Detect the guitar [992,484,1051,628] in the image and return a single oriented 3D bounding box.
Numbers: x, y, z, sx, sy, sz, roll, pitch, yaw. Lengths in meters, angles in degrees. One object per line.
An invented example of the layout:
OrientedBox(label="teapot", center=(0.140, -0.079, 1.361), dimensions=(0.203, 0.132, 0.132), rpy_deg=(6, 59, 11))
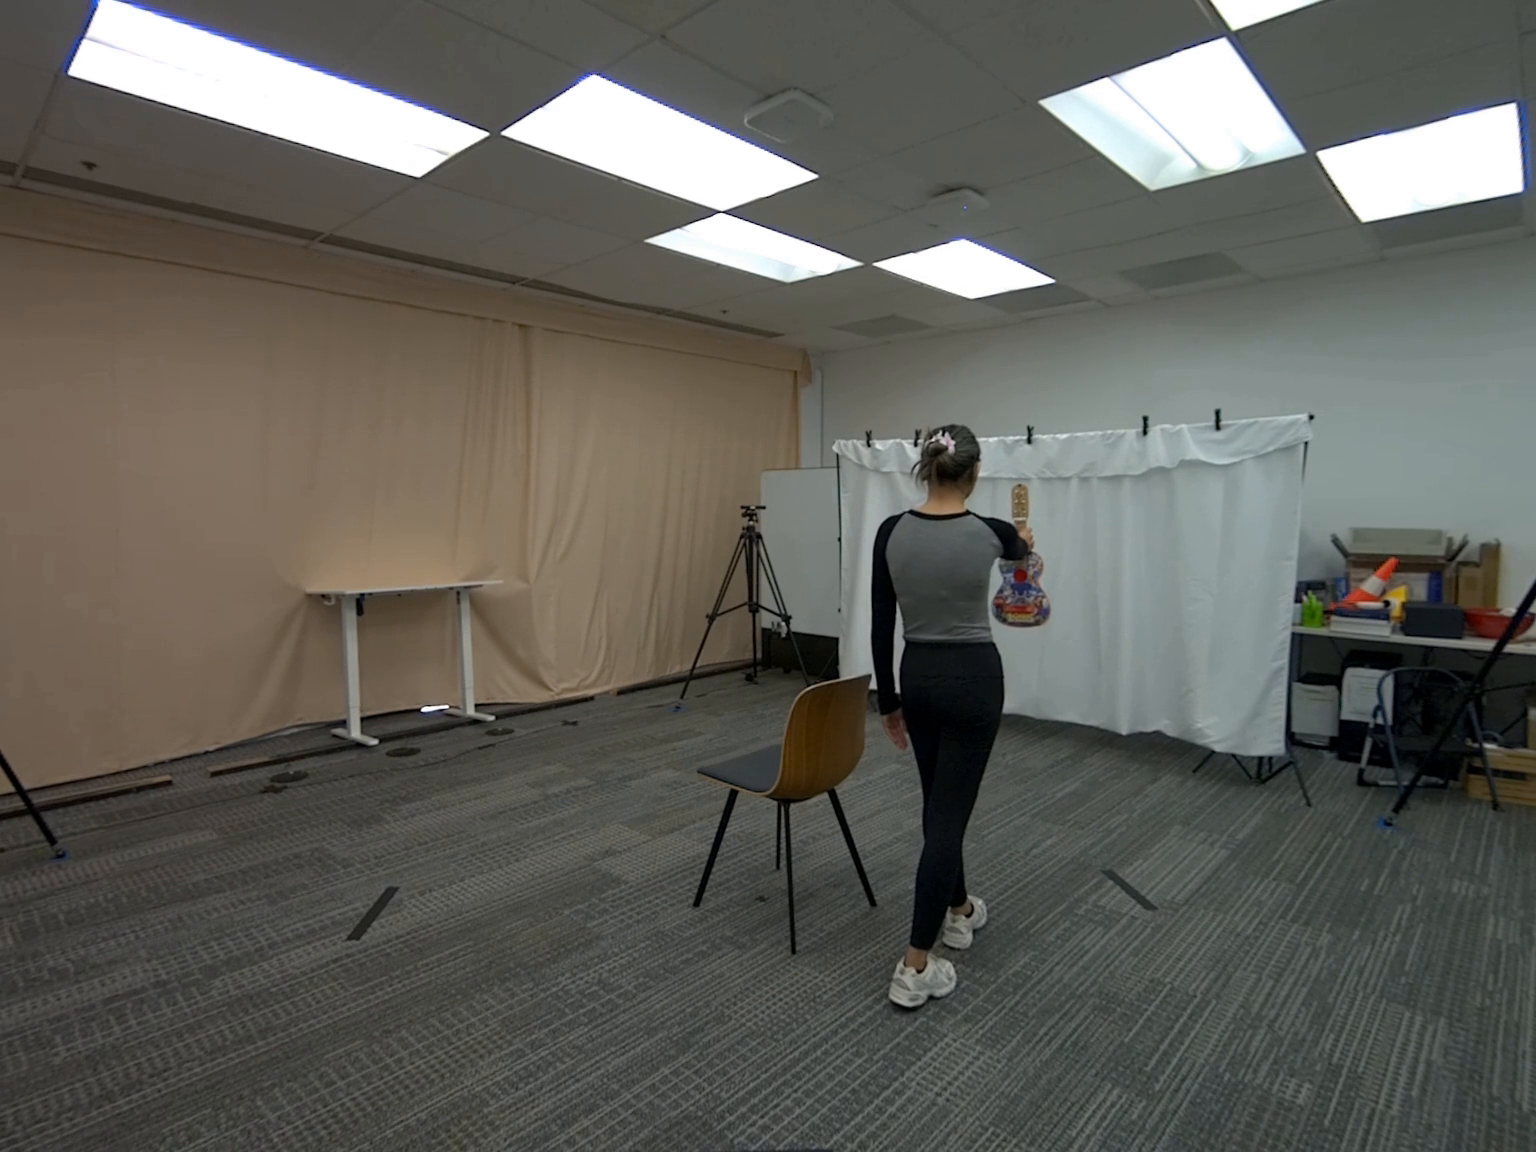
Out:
OrientedBox(label="guitar", center=(0.921, -0.065, 2.951), dimensions=(0.198, 0.499, 0.069), rpy_deg=(9, -6, 24))
